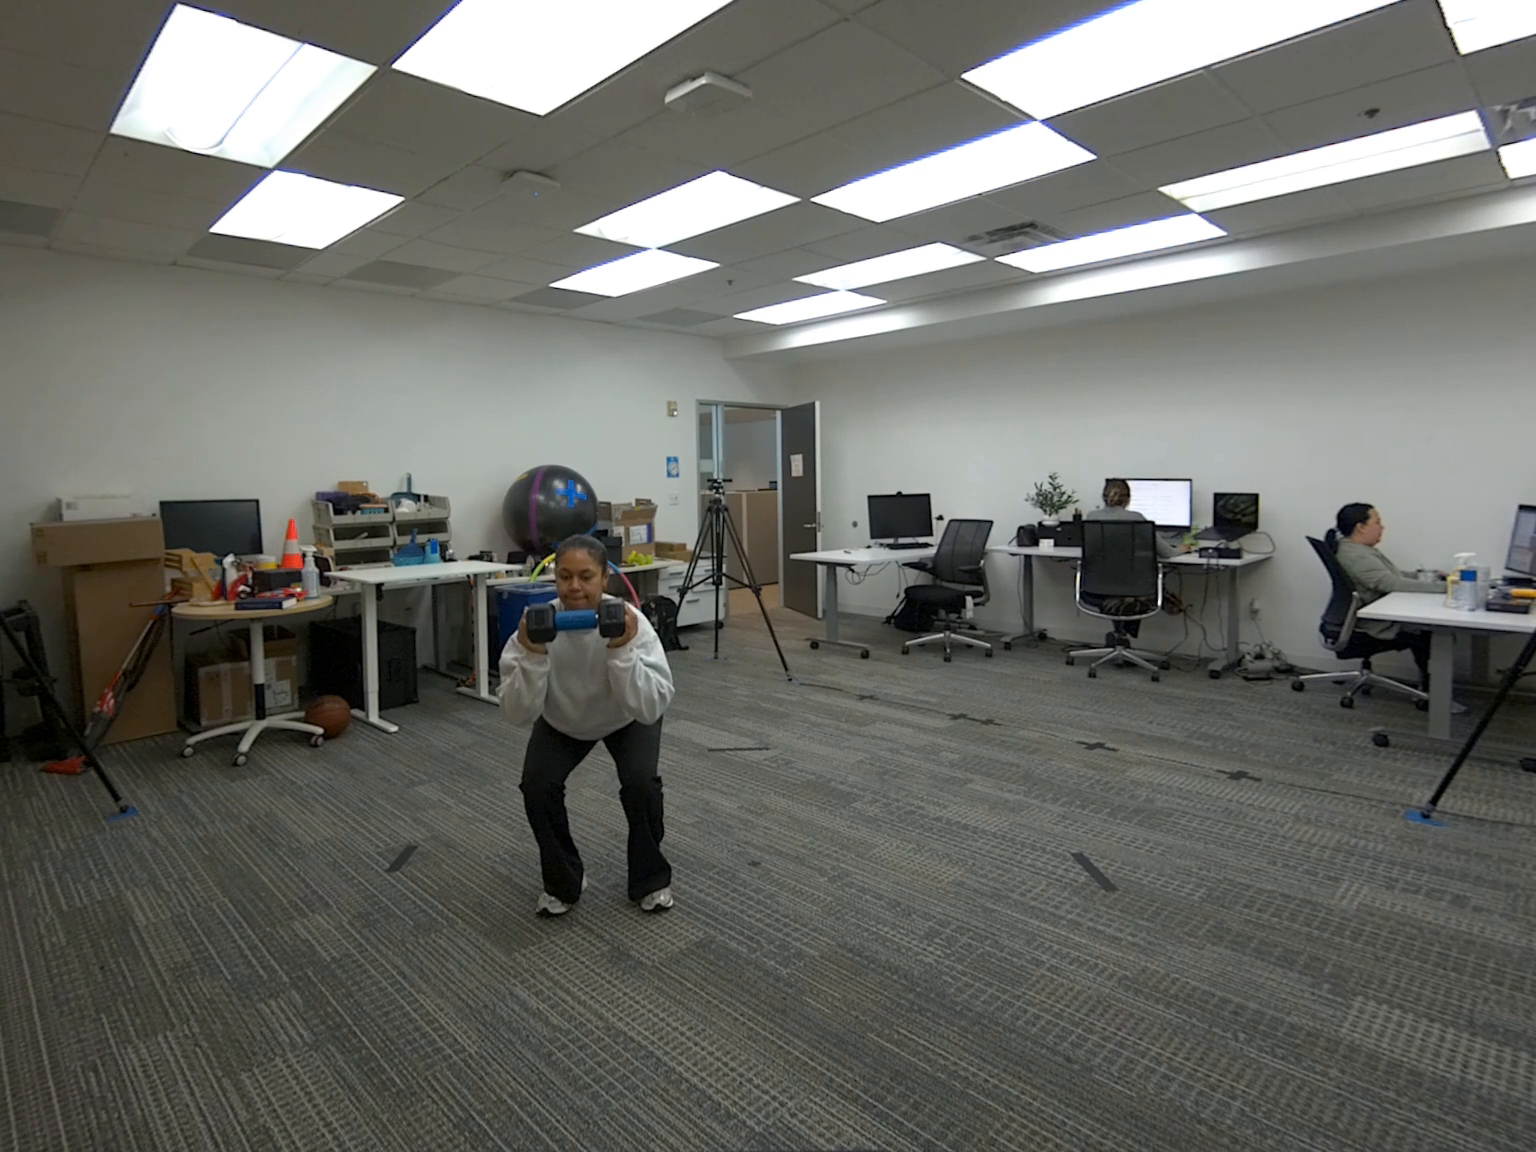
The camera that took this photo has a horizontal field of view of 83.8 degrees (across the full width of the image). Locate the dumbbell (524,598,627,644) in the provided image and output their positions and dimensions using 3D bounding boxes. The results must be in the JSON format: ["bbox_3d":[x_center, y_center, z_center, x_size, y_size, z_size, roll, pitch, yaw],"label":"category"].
[{"bbox_3d":[-0.581,0.125,2.576,0.293,0.126,0.106,-5,-24,-3],"label":"dumbbell"}]
